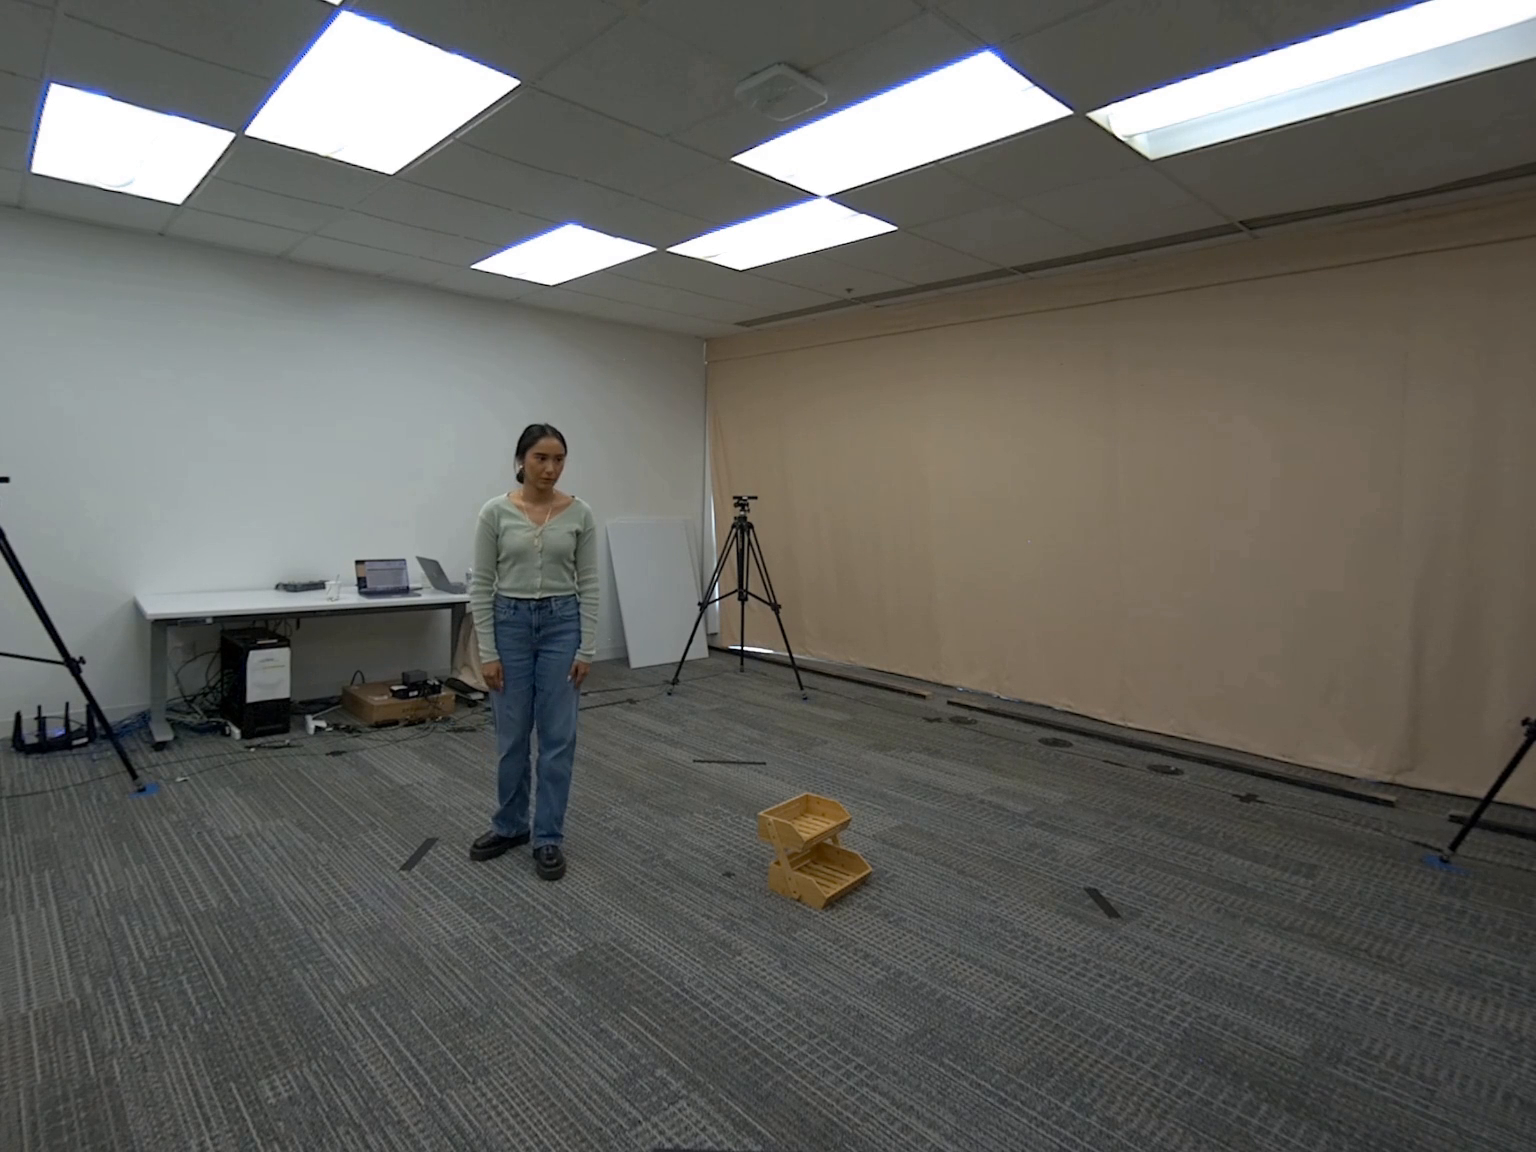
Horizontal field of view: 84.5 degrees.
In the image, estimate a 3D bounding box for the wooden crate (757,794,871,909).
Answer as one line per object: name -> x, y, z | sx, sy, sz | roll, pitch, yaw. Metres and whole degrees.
wooden crate -> 0.165, 0.981, 3.041 | 0.309, 0.273, 0.317 | 4, 5, 39
